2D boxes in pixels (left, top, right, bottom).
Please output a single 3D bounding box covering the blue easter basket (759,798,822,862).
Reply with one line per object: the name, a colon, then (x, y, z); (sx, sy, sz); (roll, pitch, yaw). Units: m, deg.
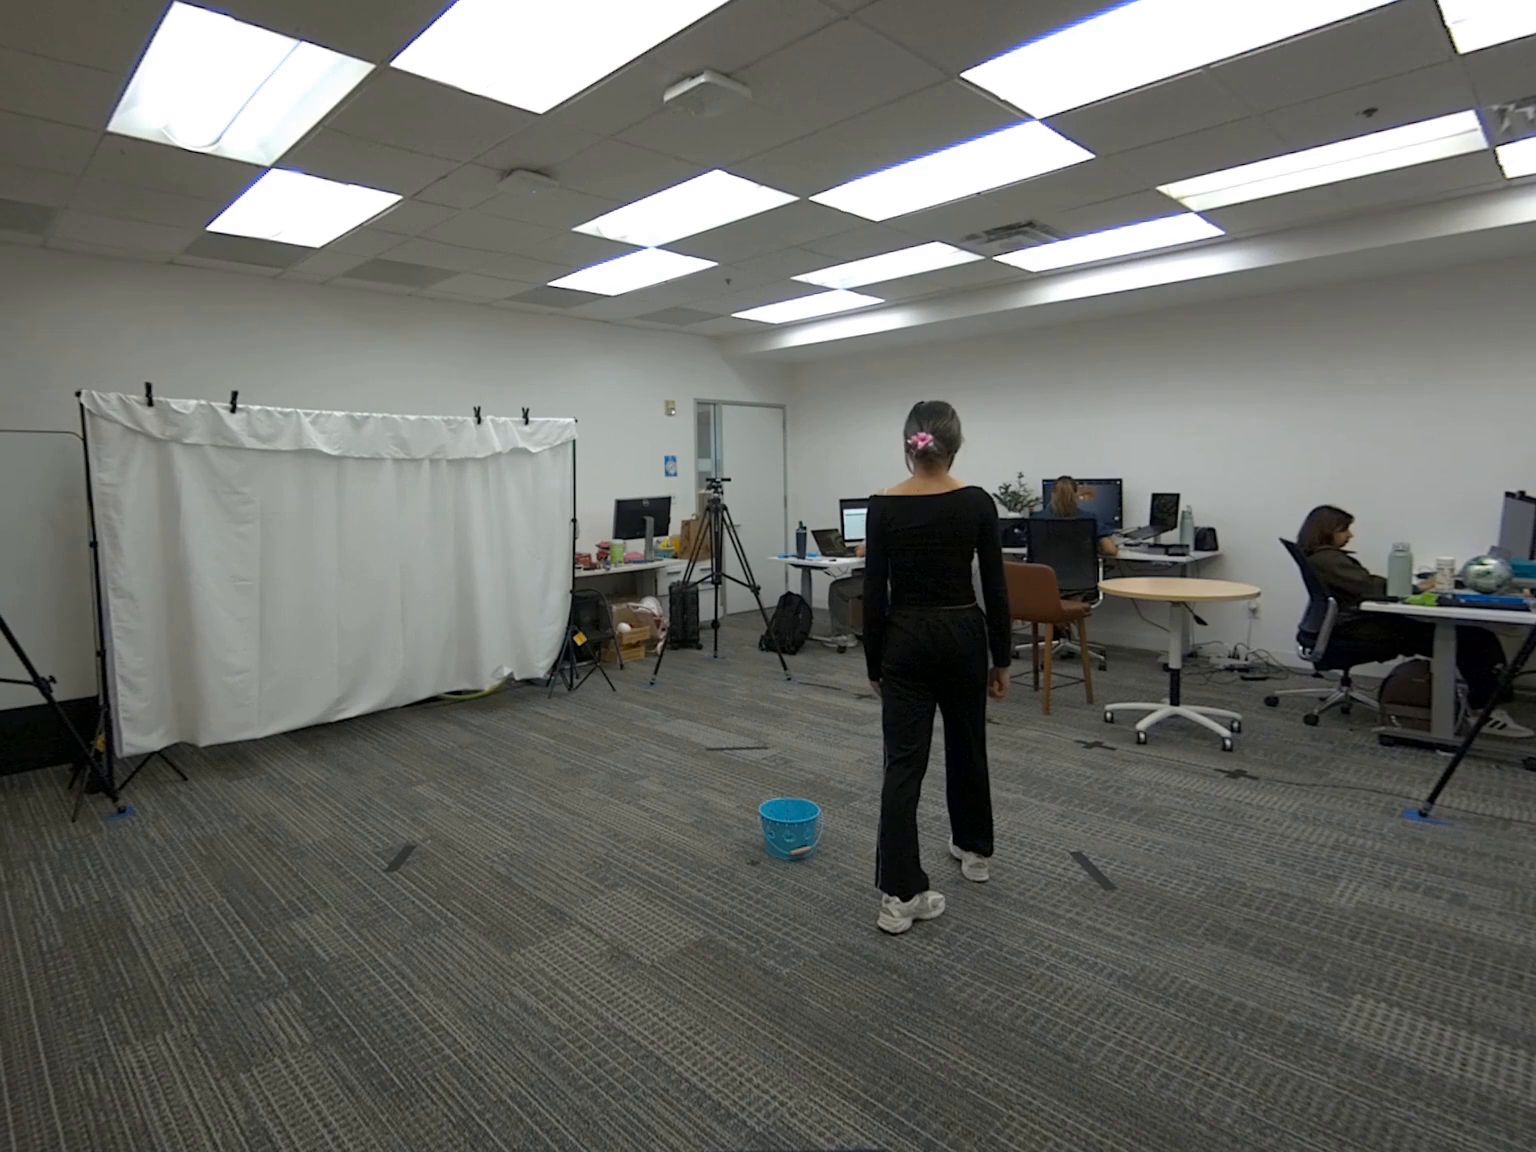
blue easter basket: (0.081, 0.948, 3.208); (0.243, 0.155, 0.245); (-1, 5, -2)
